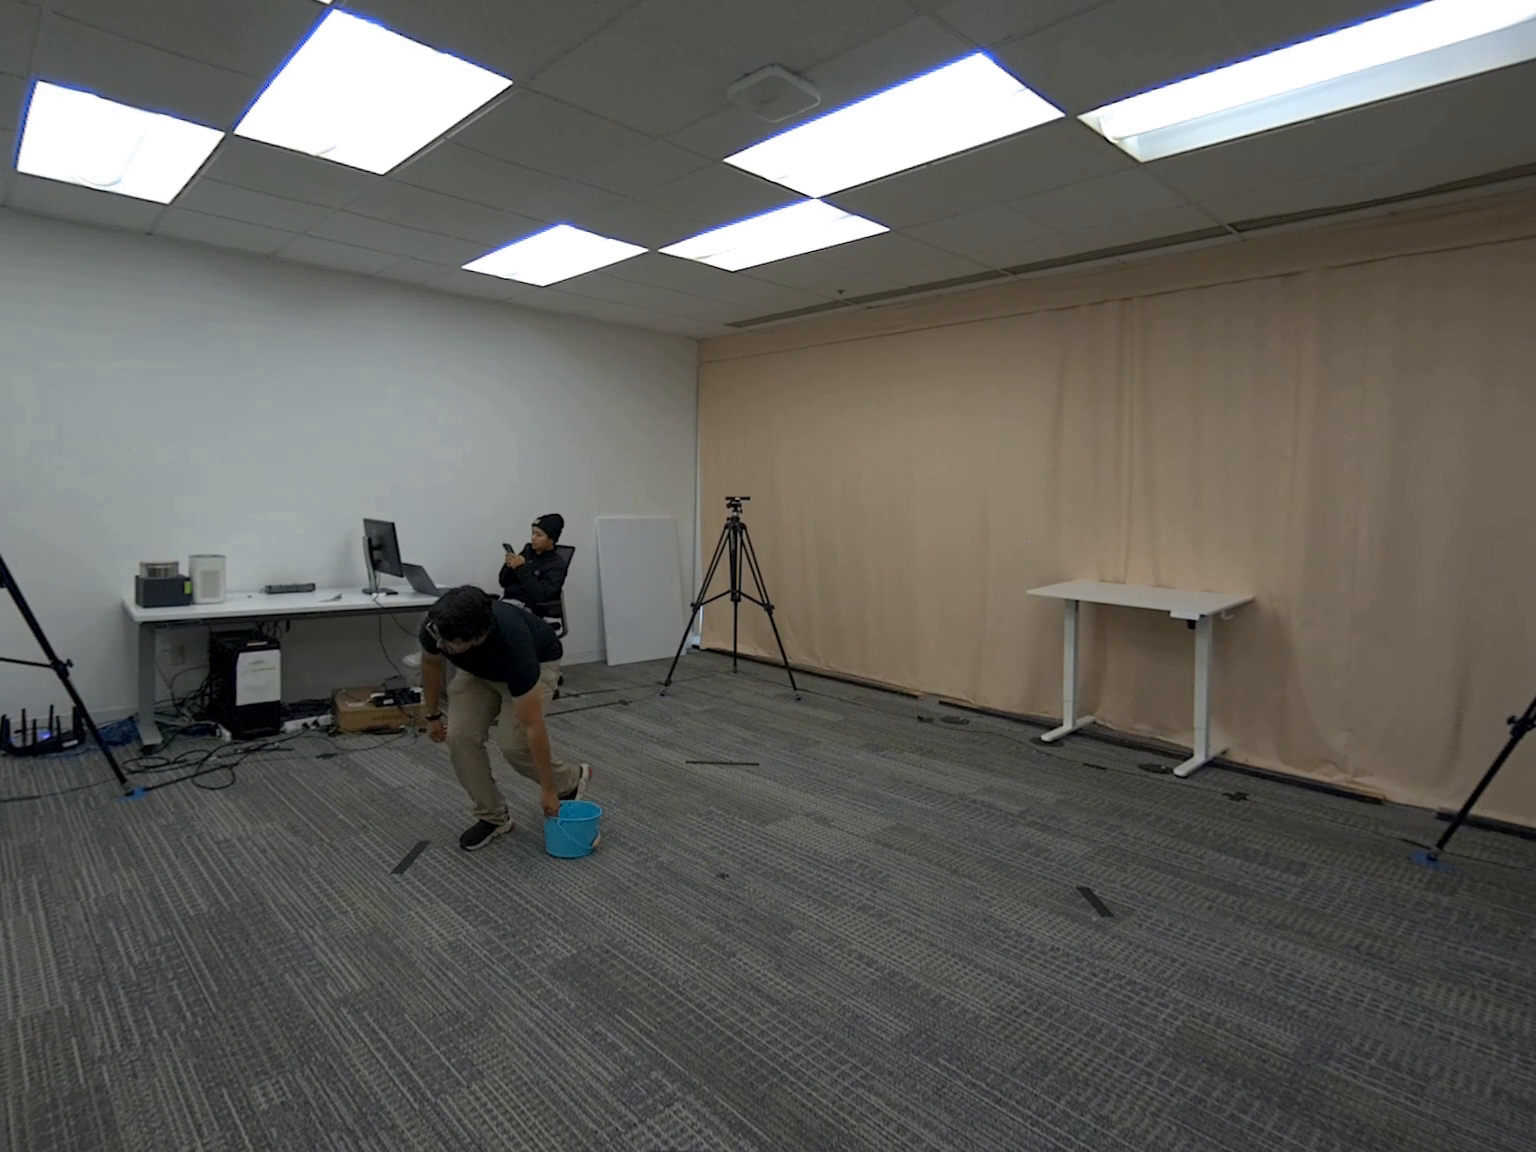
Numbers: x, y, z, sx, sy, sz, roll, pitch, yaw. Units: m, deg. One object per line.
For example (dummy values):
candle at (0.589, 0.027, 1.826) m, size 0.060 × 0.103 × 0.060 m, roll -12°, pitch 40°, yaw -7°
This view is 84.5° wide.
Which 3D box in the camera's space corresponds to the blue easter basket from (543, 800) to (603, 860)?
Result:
blue easter basket at (-0.786, 0.998, 3.296) m, size 0.243 × 0.156 × 0.244 m, roll 3°, pitch 2°, yaw -1°
